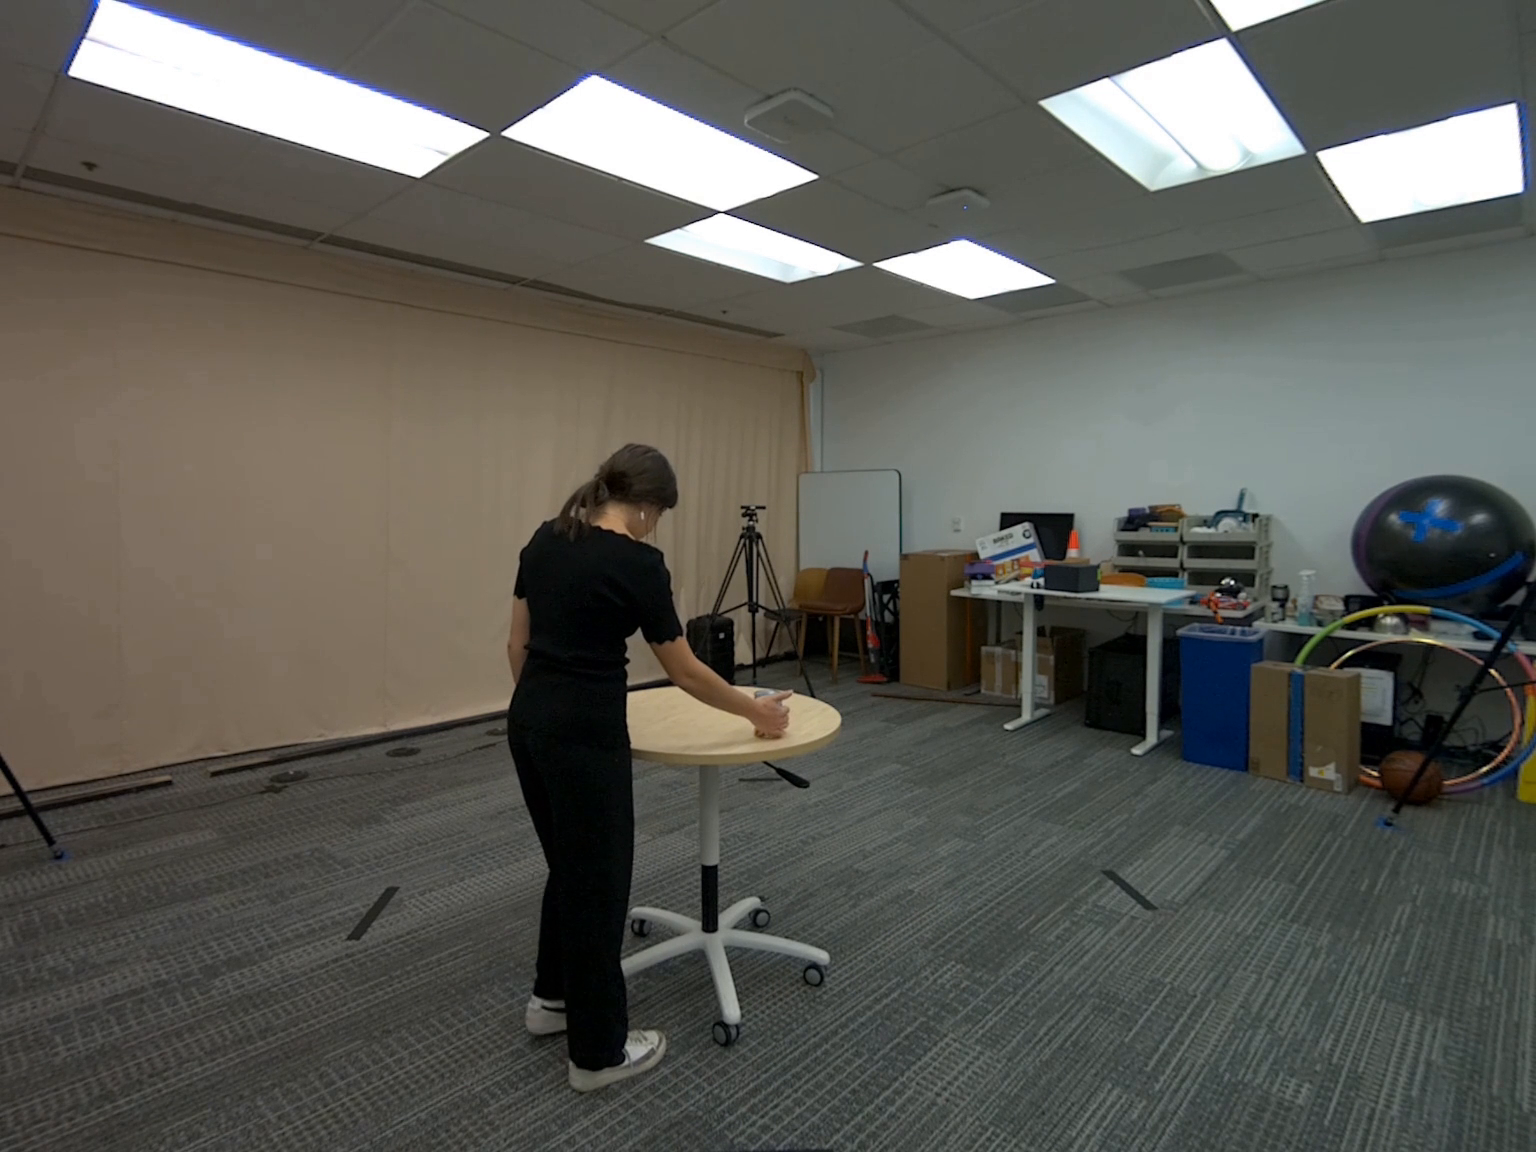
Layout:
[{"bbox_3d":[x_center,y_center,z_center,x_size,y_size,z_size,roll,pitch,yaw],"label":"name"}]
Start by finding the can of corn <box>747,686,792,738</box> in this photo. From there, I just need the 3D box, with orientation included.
[{"bbox_3d":[0.007,0.371,2.232,0.074,0.110,0.074,0,6,-2],"label":"can of corn"}]
